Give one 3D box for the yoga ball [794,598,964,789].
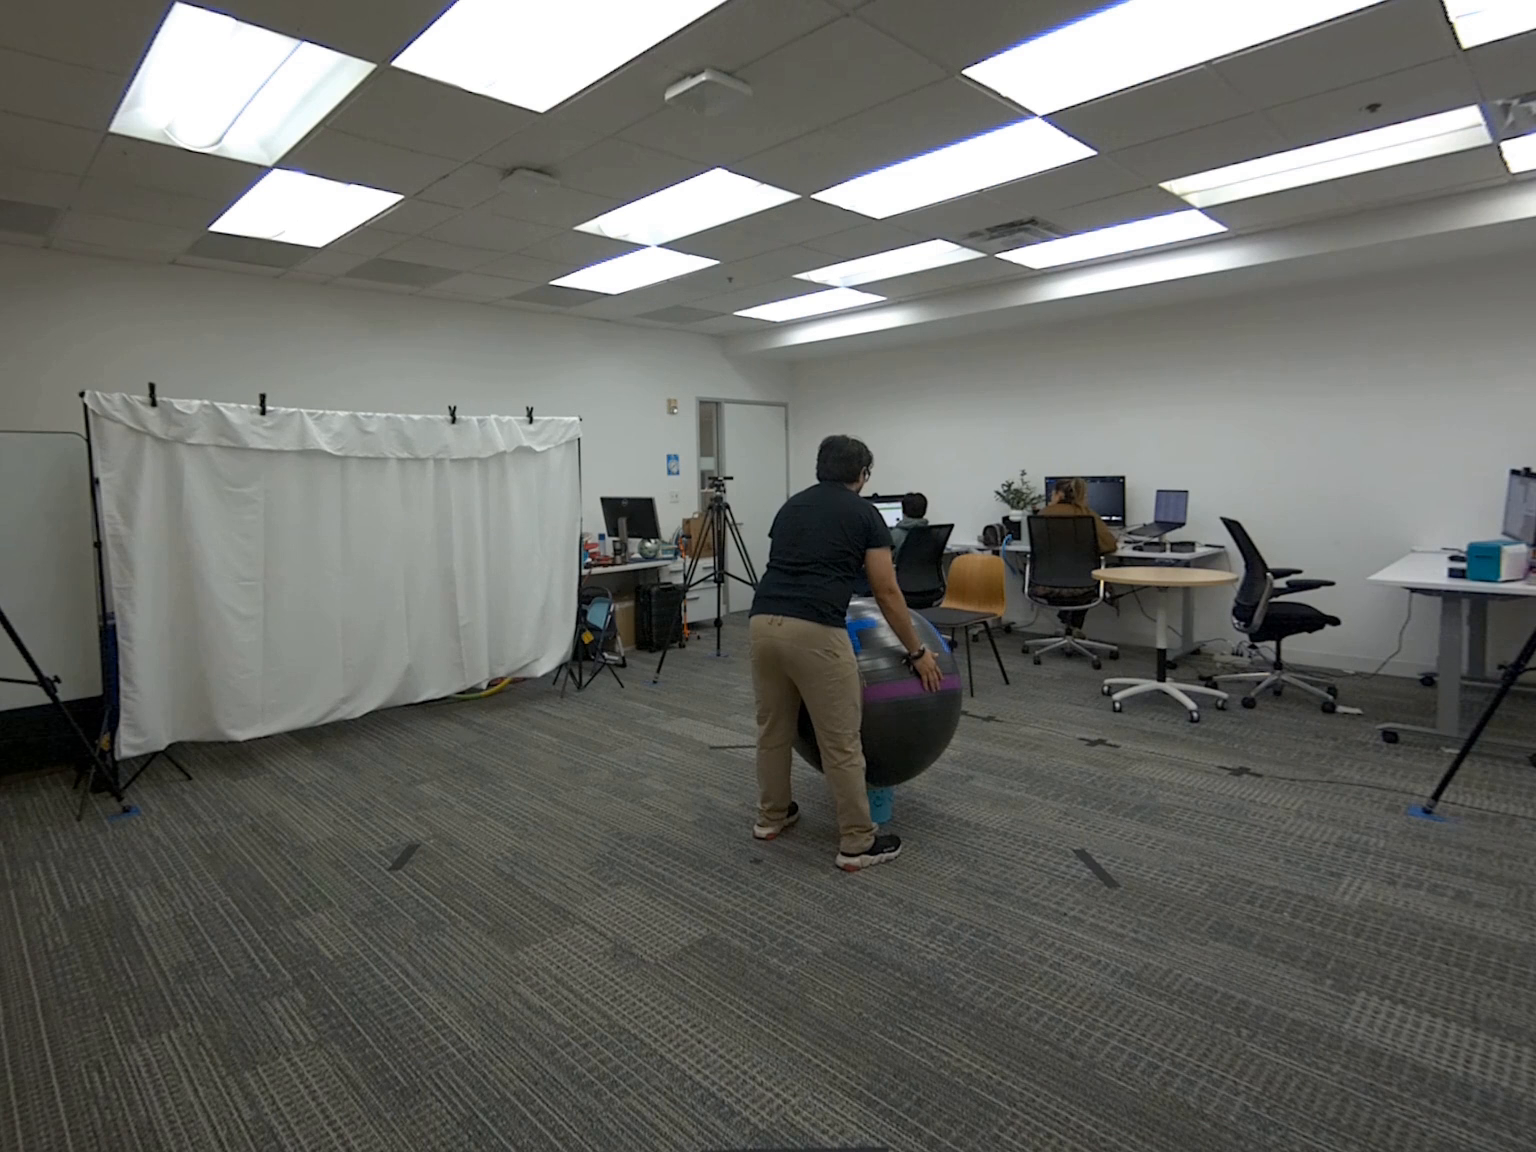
[{"bbox_3d":[0.409,0.477,3.504,0.757,0.755,0.762,-1,5,-2],"label":"yoga ball"}]
